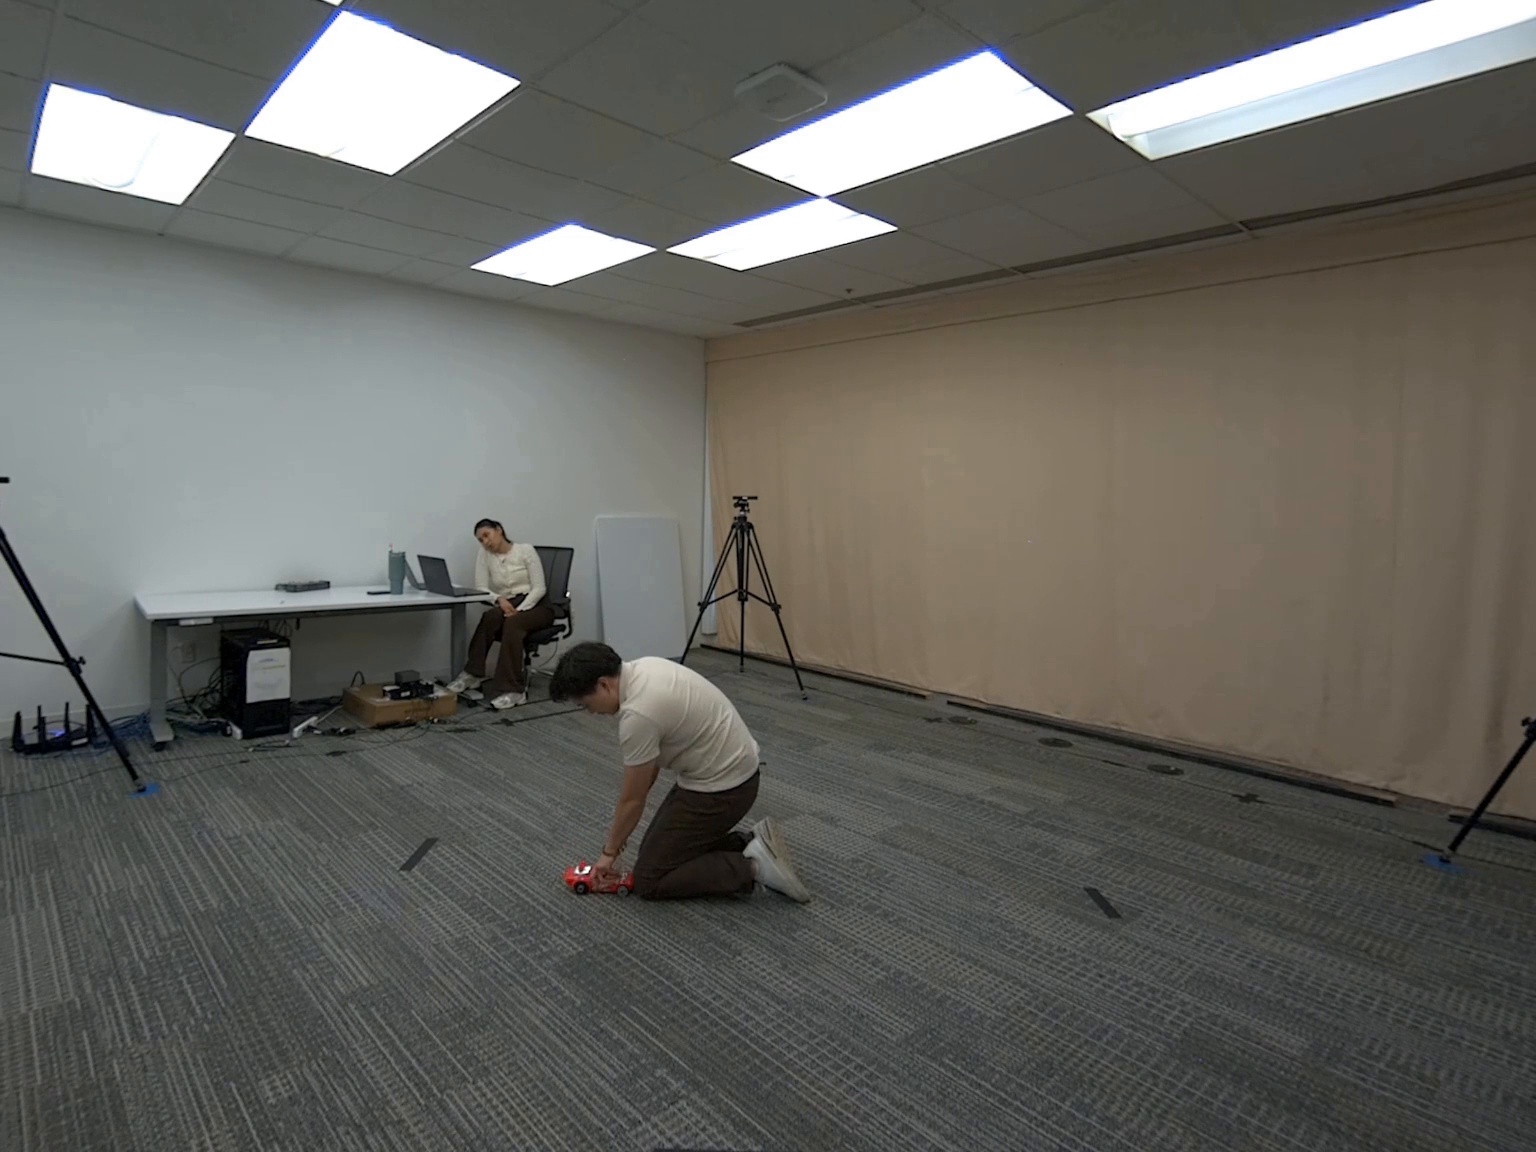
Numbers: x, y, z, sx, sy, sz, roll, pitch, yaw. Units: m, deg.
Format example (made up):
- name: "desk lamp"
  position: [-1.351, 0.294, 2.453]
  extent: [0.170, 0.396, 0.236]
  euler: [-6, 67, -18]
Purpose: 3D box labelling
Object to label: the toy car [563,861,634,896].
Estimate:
- name: "toy car"
  position: [-0.602, 1.066, 2.981]
  extent: [0.255, 0.083, 0.130]
  euler: [13, 2, 0]
